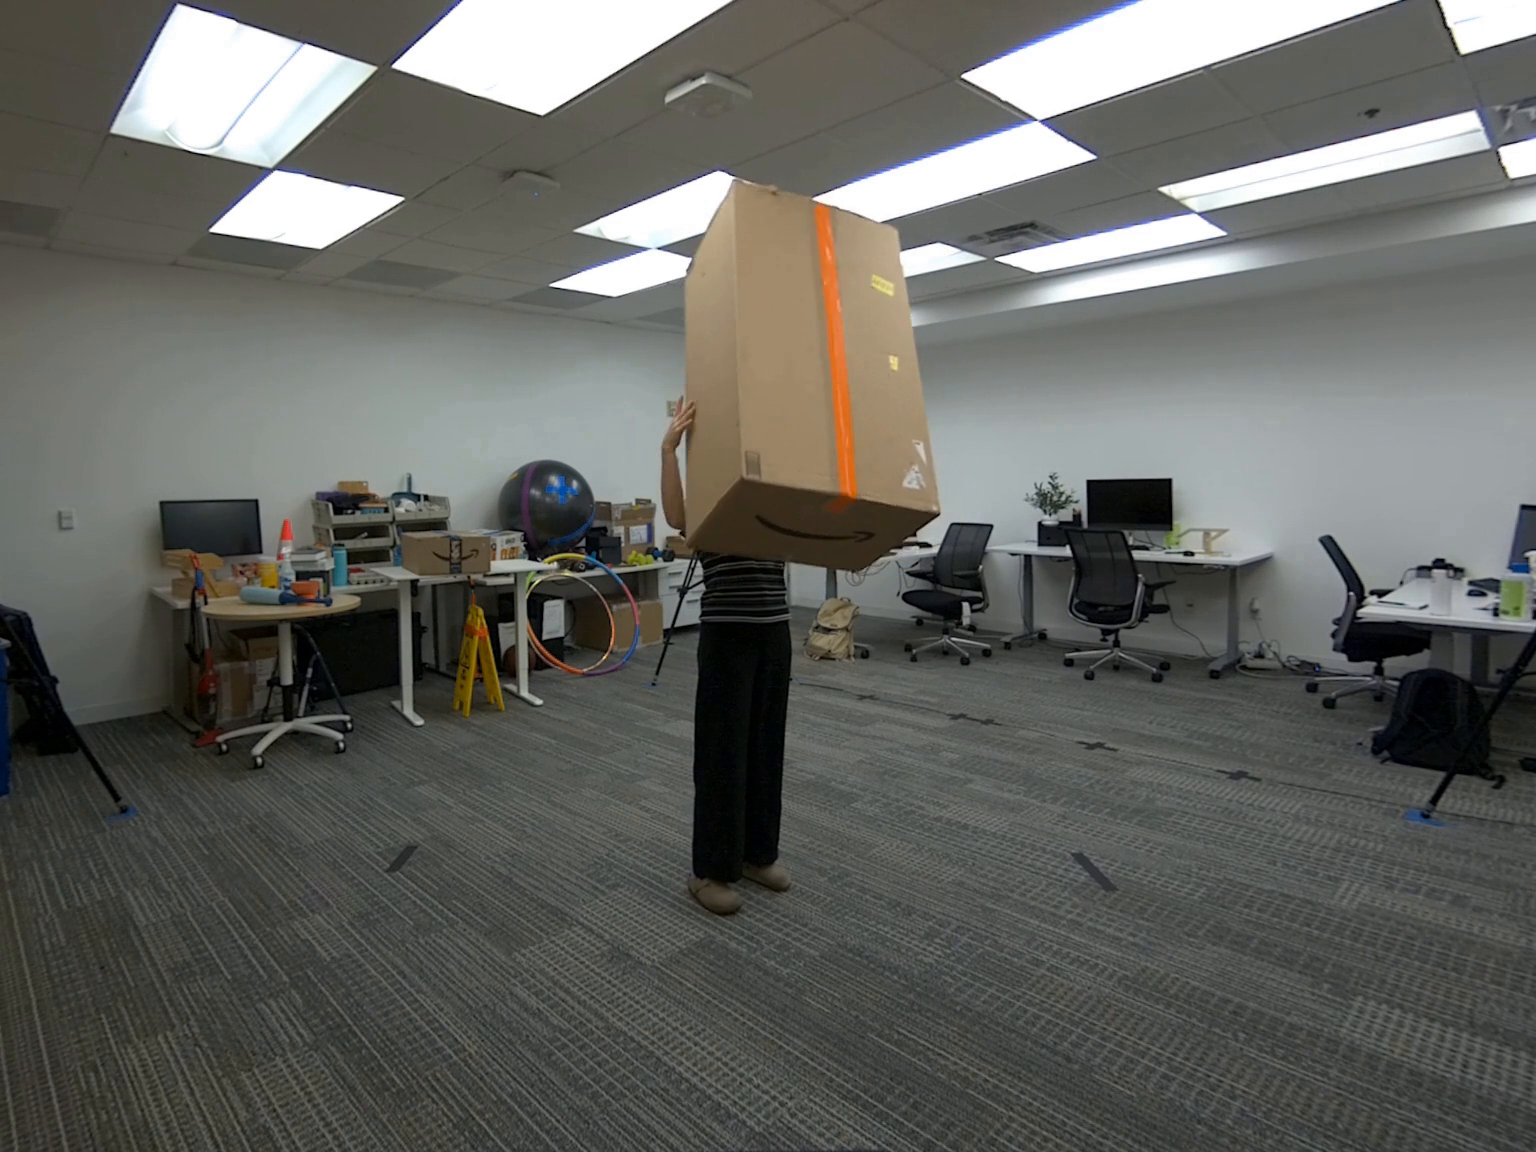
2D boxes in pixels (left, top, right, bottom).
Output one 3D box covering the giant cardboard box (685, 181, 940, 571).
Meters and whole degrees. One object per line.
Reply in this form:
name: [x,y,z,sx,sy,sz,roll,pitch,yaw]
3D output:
giant cardboard box: [0.094,-0.560,2.565,0.565,1.048,0.426,8,-27,-22]
